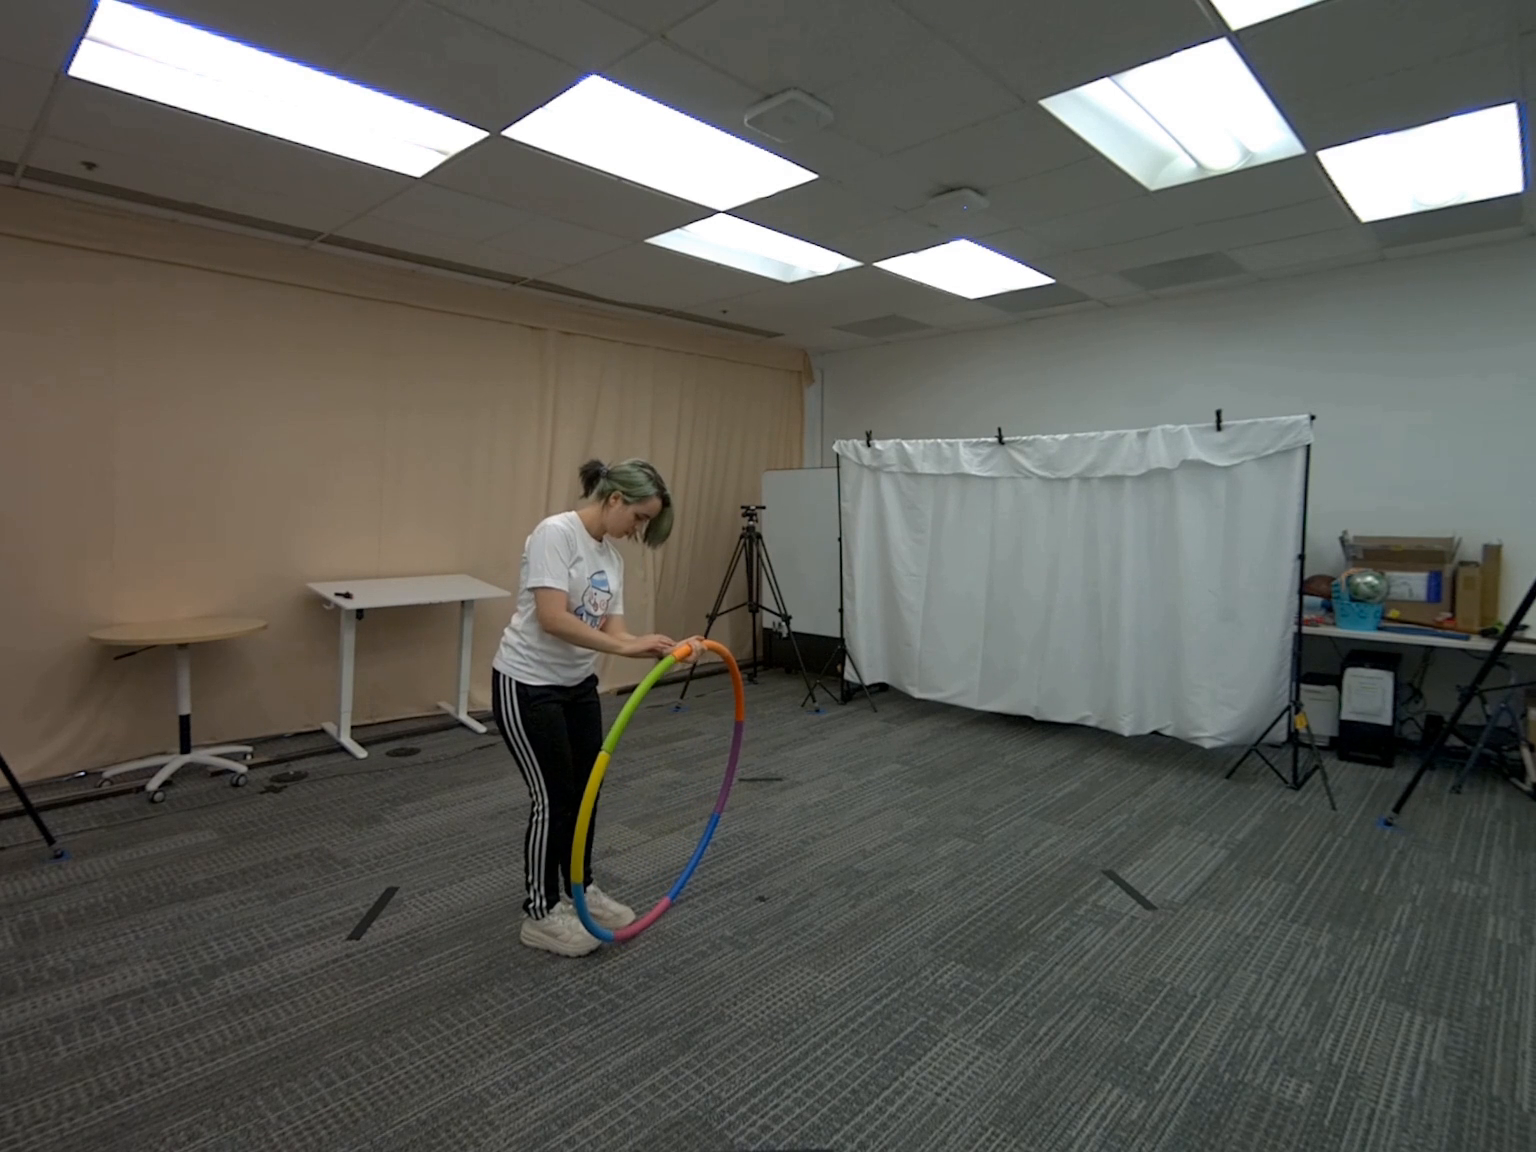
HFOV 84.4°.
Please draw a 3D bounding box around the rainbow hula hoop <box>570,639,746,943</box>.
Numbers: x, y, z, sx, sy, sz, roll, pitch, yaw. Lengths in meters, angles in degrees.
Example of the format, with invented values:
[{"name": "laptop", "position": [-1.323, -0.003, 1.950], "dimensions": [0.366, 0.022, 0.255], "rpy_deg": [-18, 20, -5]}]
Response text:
[{"name": "rainbow hula hoop", "position": [-0.310, 0.689, 2.741], "dimensions": [0.036, 0.975, 0.955], "rpy_deg": [15, 10, 23]}]
